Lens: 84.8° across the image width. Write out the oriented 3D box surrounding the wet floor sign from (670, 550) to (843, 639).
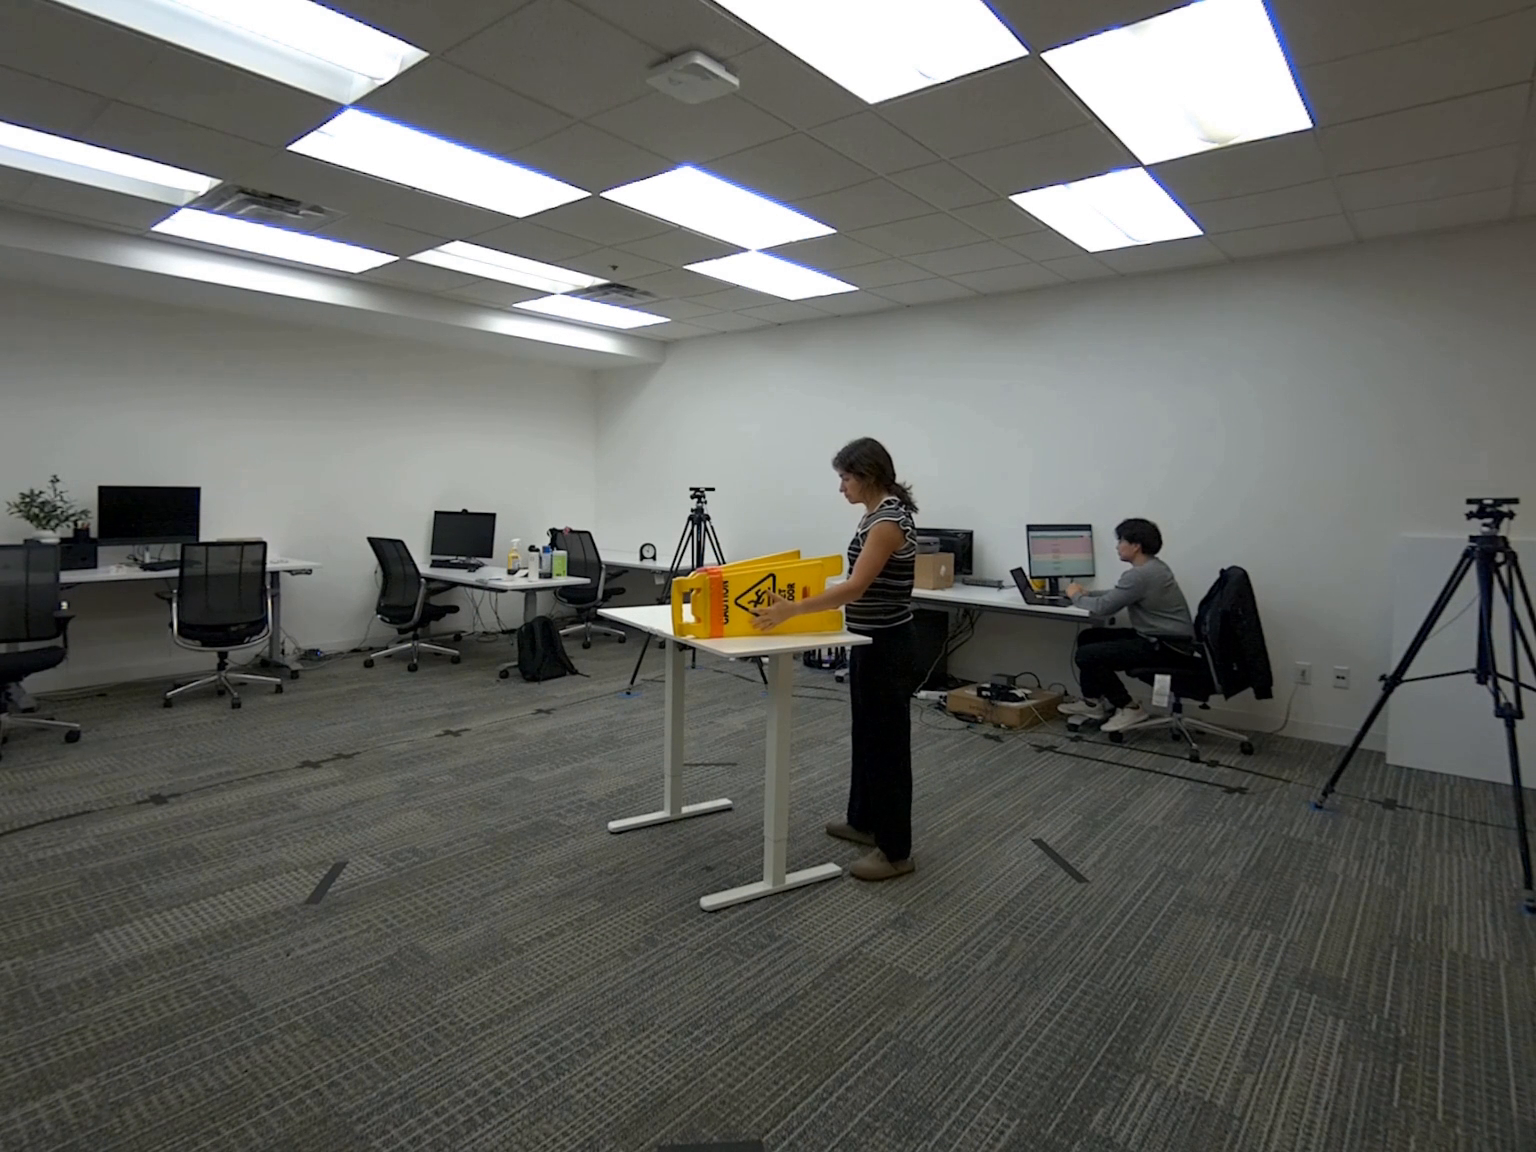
[{"bbox_3d":[-0.074,0.078,3.003,0.629,0.281,0.299,-6,8,-36],"label":"wet floor sign"}]
